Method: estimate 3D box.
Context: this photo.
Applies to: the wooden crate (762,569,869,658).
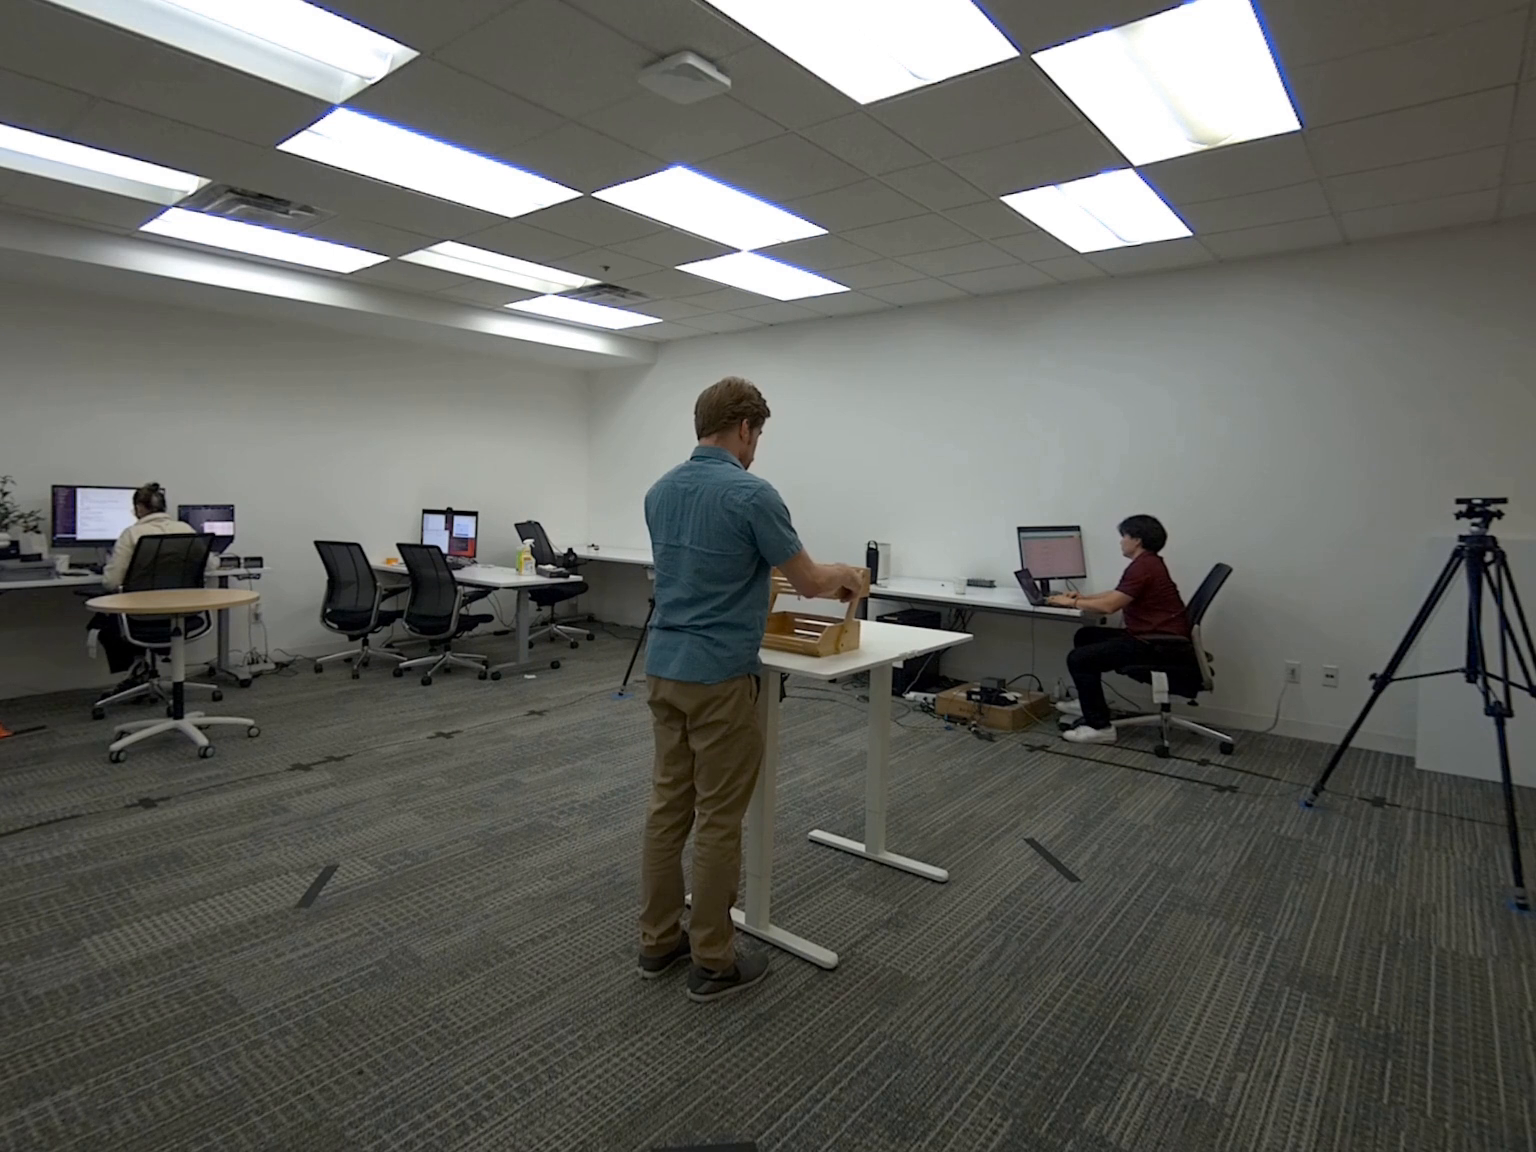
[{"bbox_3d":[0.117,0.095,2.771,0.335,0.272,0.293,5,5,37],"label":"wooden crate"}]
